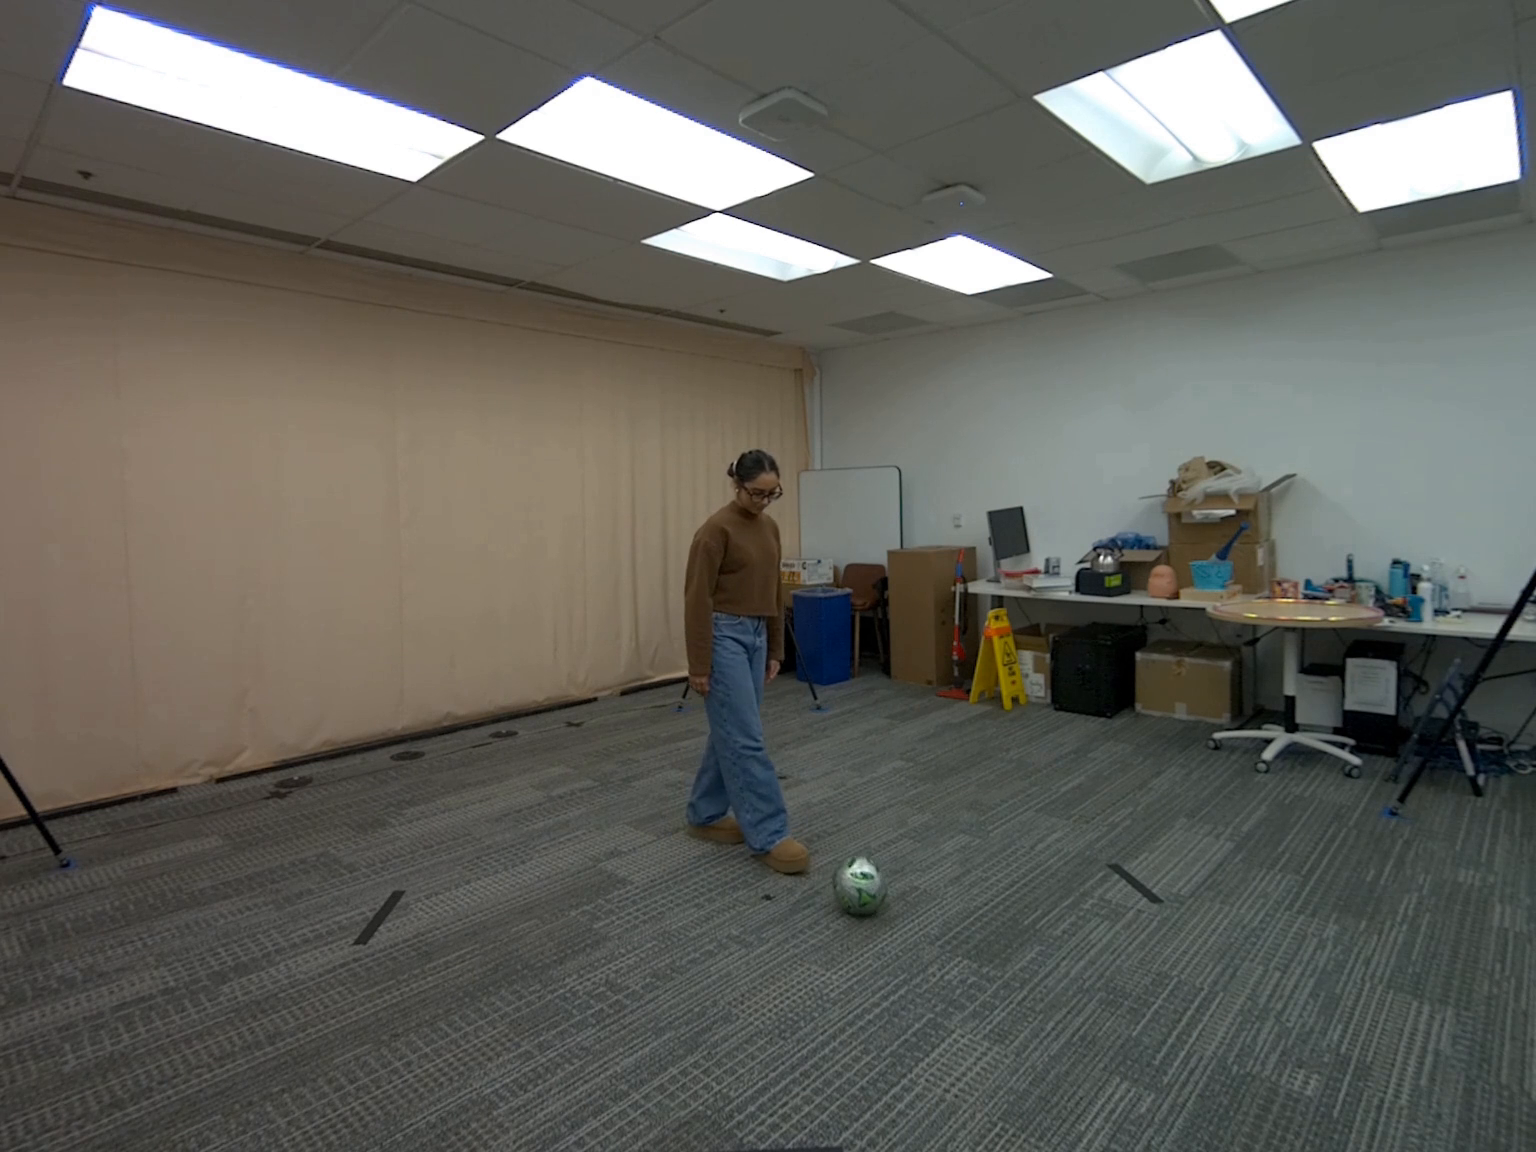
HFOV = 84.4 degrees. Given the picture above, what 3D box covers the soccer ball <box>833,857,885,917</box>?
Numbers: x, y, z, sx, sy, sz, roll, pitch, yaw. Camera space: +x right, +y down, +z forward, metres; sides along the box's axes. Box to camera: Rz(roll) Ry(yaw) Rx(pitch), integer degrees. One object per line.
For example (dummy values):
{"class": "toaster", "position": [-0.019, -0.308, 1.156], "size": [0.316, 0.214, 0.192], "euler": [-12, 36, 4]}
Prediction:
{"class": "soccer ball", "position": [0.314, 1.051, 2.861], "size": [0.187, 0.187, 0.188], "euler": [-1, 4, -2]}
